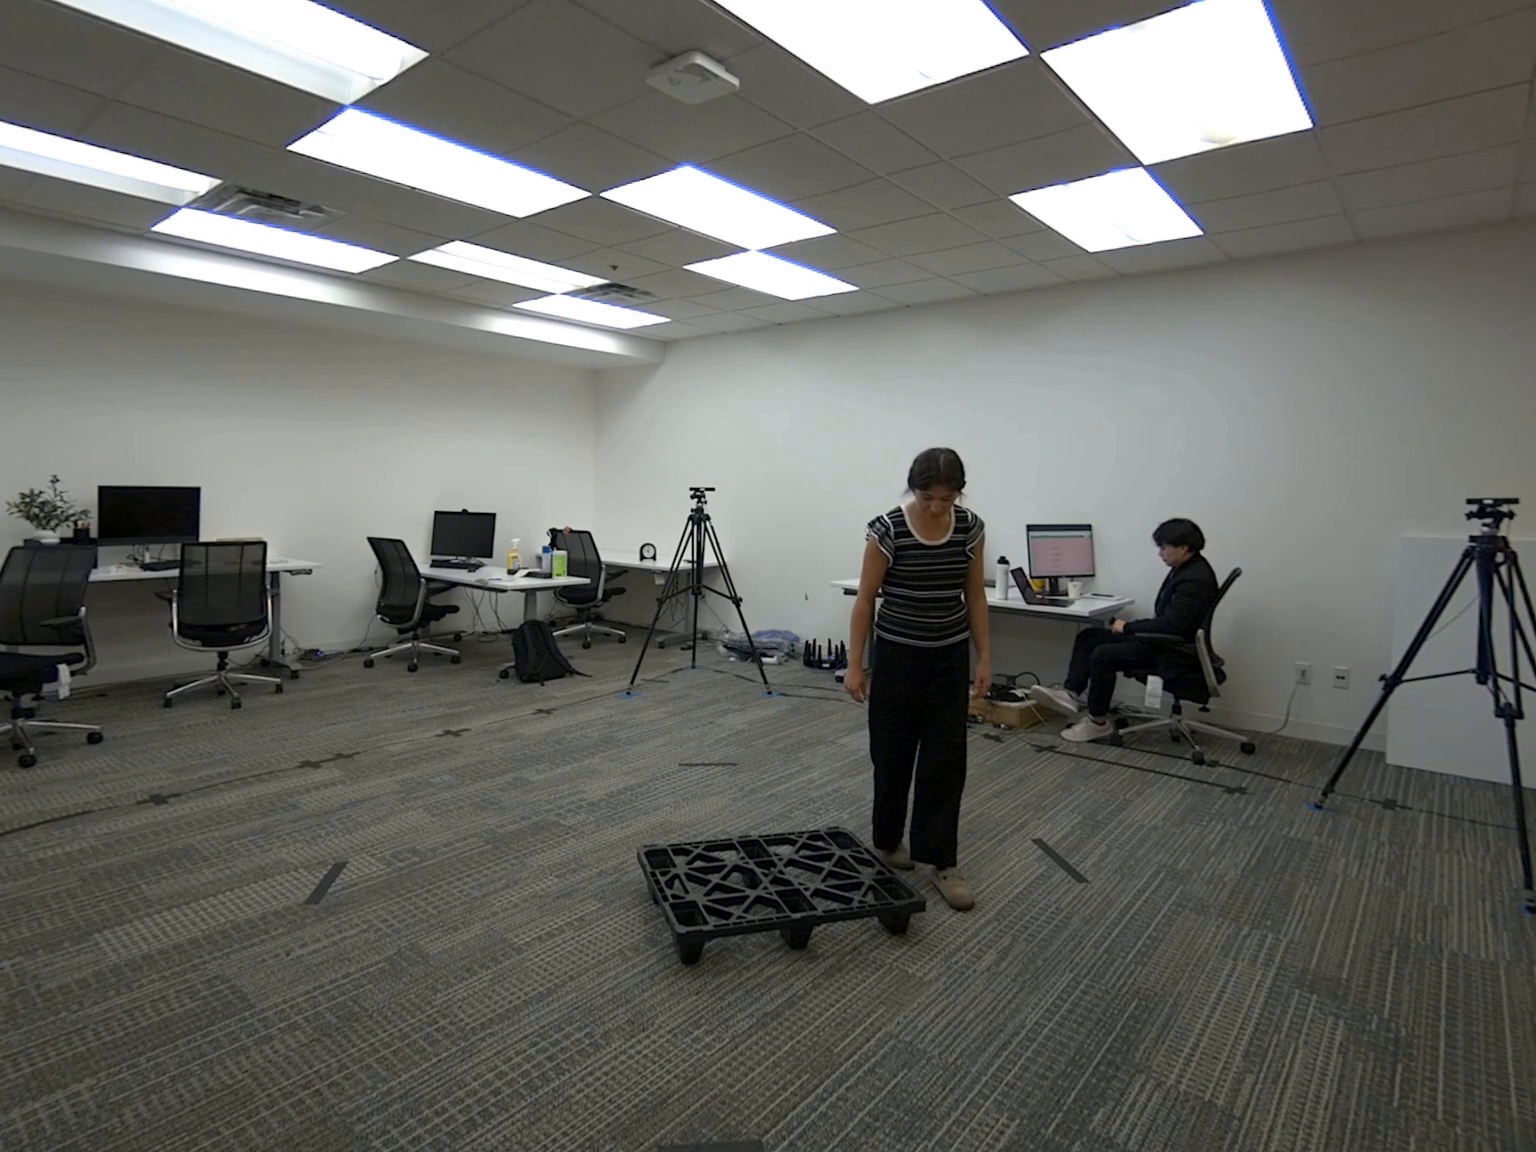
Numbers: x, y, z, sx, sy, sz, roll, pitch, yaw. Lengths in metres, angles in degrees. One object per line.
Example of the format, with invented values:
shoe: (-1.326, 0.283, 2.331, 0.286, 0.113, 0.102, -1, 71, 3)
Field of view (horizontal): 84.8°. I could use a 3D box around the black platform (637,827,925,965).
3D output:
black platform: (0.008, 1.035, 2.792, 0.791, 0.142, 0.619, -1, 7, -18)
